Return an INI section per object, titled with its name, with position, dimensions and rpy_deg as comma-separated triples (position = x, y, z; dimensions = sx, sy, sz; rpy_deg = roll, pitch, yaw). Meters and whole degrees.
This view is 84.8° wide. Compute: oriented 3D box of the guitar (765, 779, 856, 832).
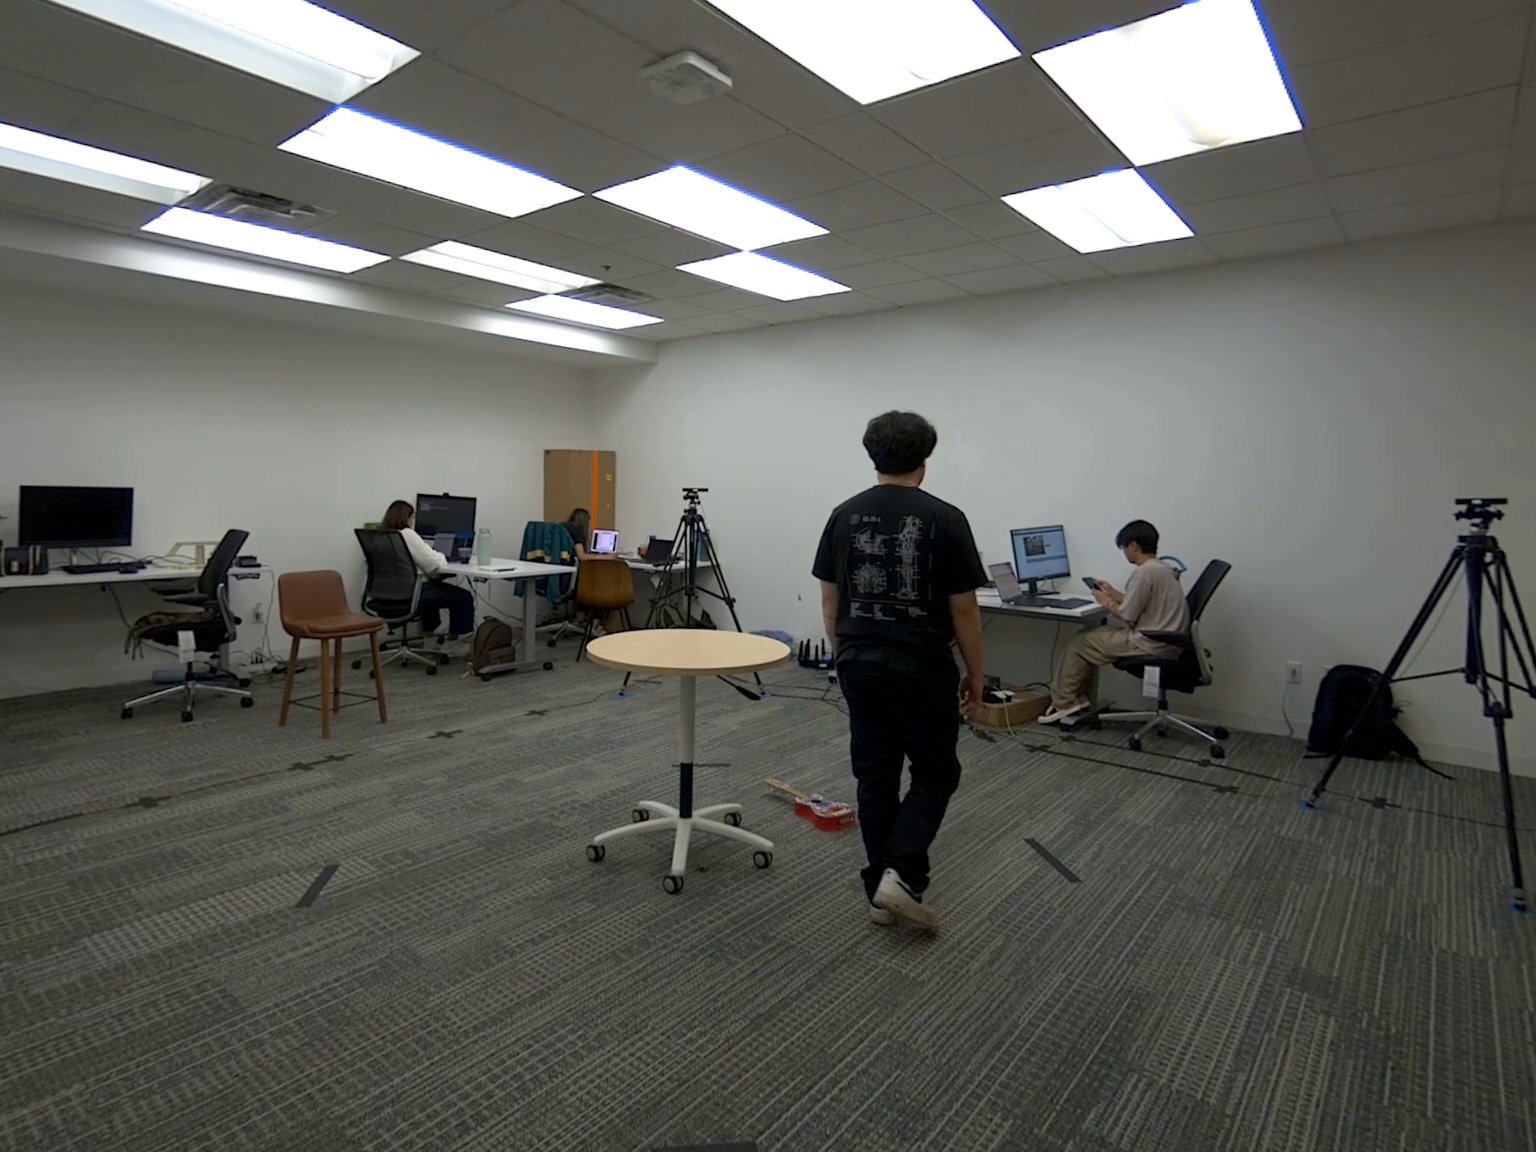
[guitar]
position = 0.176, 0.985, 3.731
dimensions = 0.188, 0.070, 0.513
rpy_deg = -3, 7, -30
